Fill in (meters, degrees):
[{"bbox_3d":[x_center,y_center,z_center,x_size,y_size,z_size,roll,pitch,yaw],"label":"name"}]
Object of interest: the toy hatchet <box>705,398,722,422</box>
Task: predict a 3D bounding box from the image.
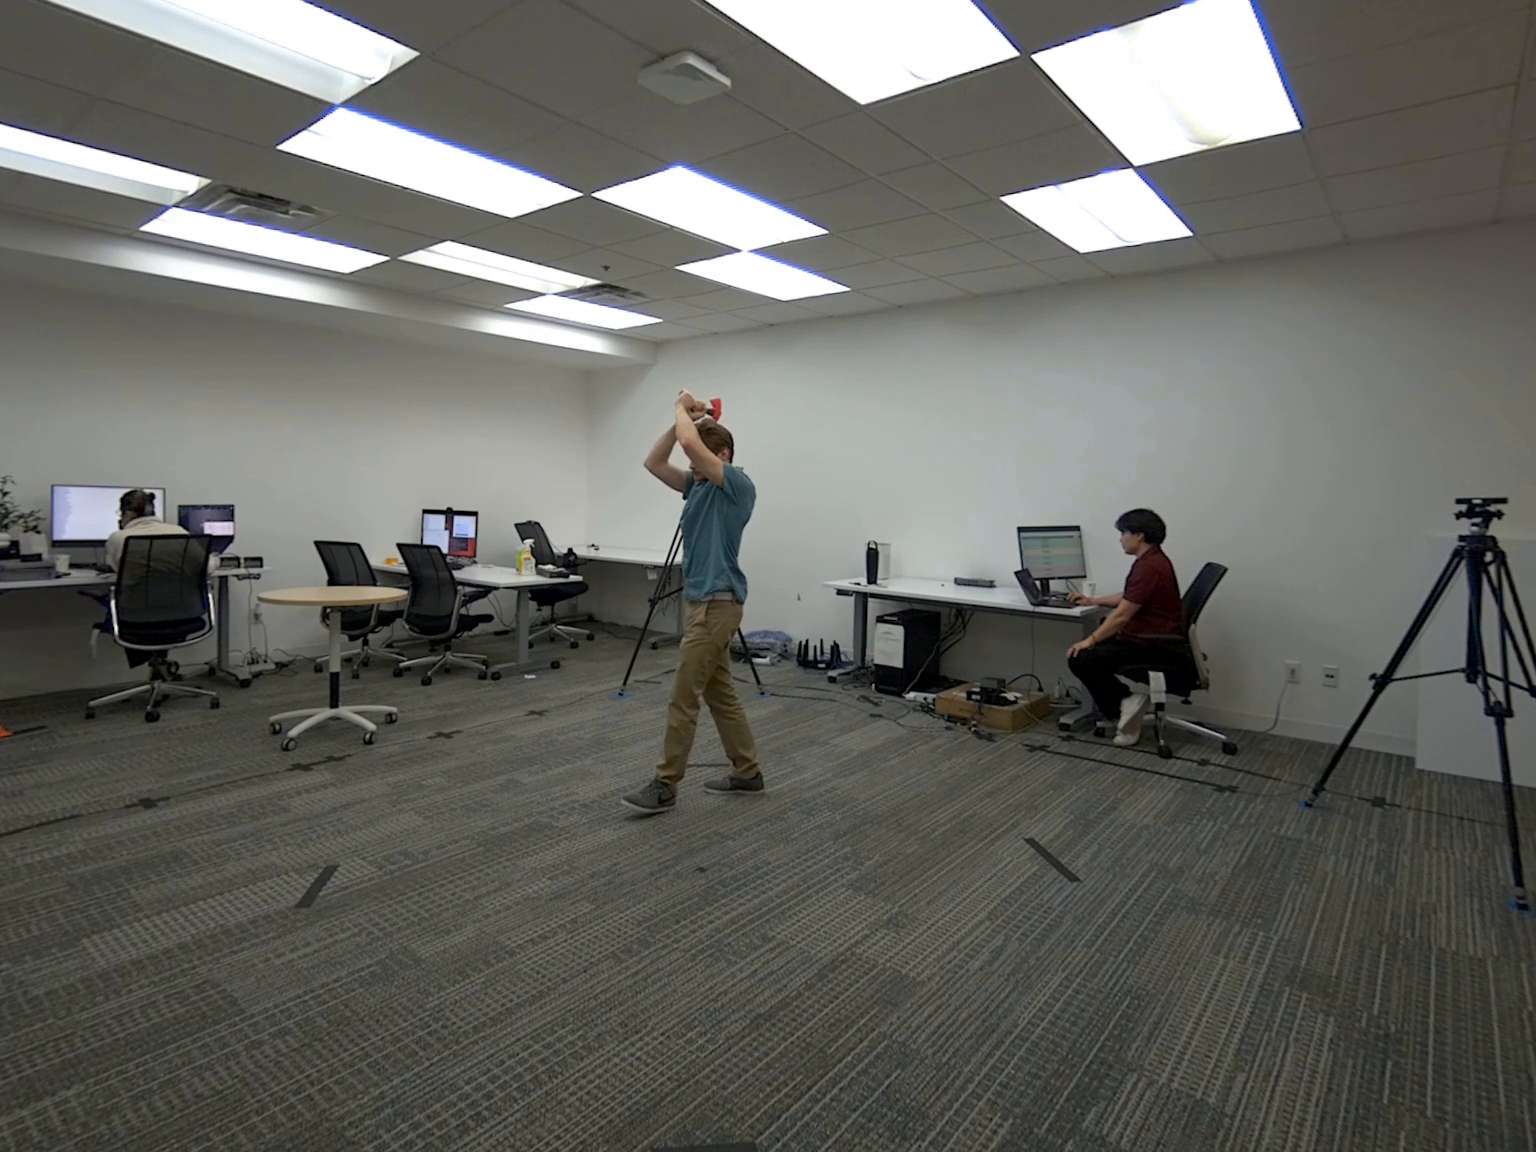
[{"bbox_3d":[-0.305,-0.791,3.824,0.031,0.131,0.259,24,-5,46],"label":"toy hatchet"}]
